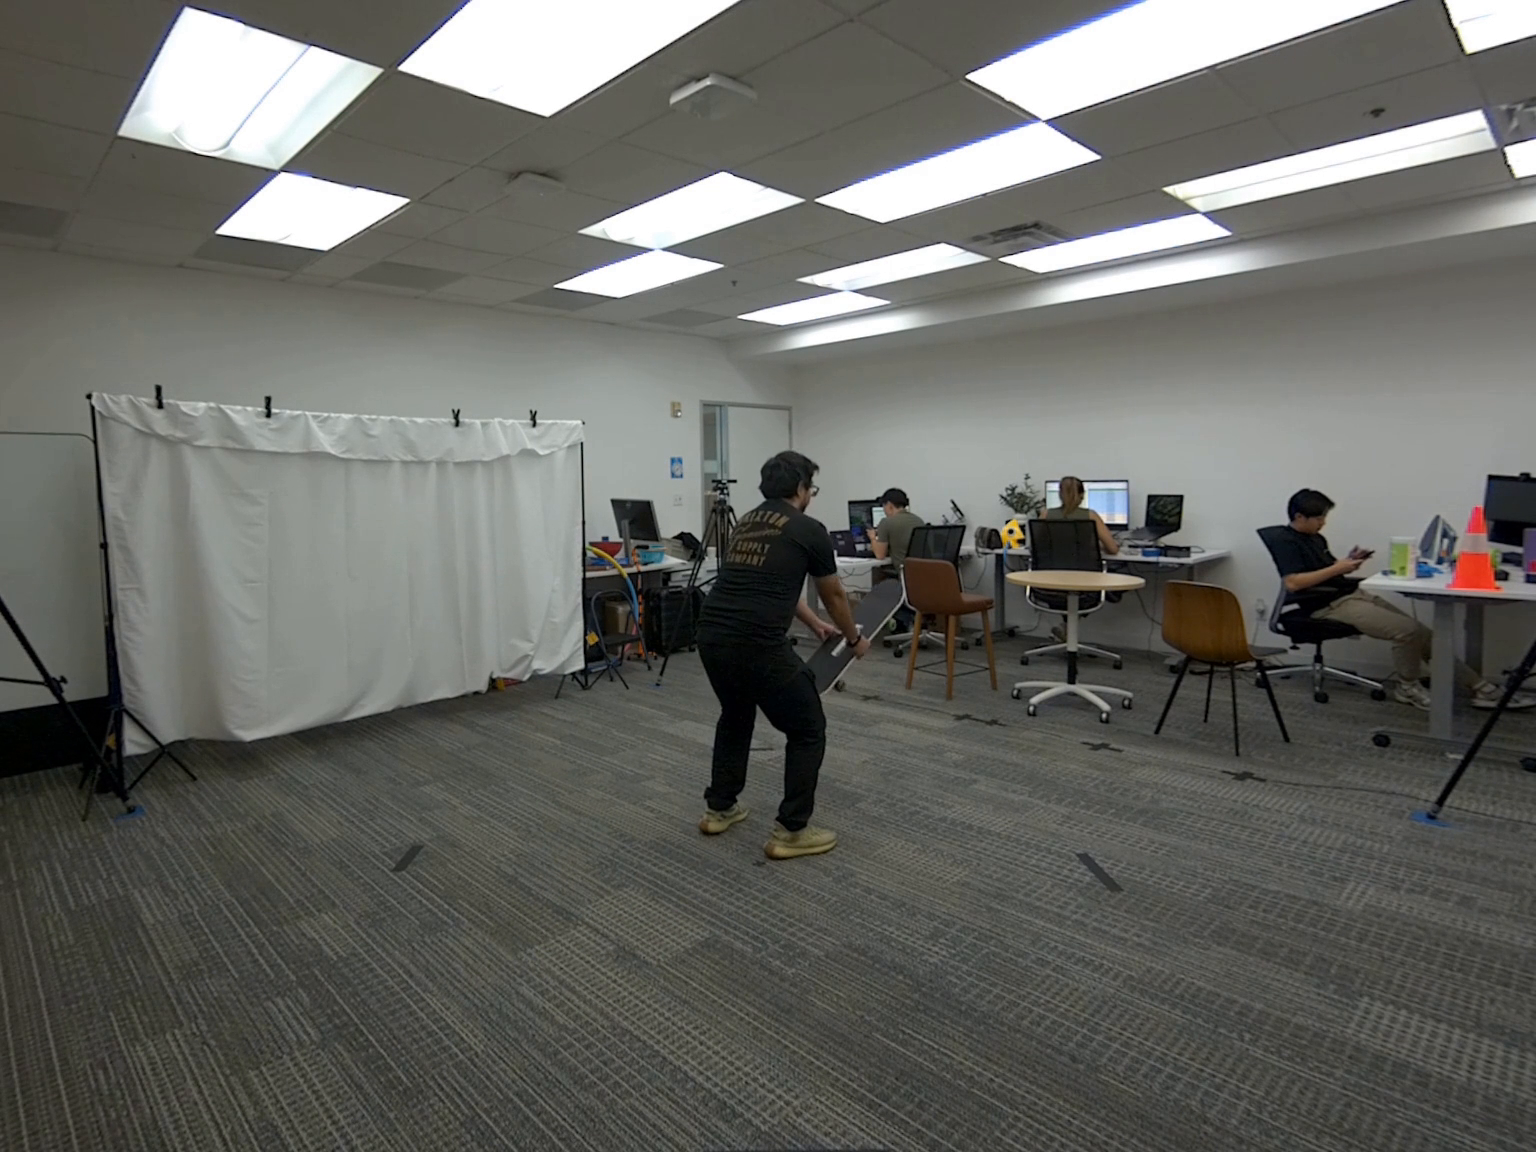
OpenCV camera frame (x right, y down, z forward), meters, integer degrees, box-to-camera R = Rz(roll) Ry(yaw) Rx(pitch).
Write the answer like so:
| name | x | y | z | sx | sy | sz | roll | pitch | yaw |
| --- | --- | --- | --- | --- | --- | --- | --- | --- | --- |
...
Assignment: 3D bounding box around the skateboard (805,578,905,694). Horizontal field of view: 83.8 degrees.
| name | x | y | z | sx | sy | sz | roll | pitch | yaw |
| --- | --- | --- | --- | --- | --- | --- | --- | --- | --- |
| skateboard | 0.349 | 0.303 | 3.649 | 0.200 | 0.107 | 0.784 | 9 | 44 | 44 |
